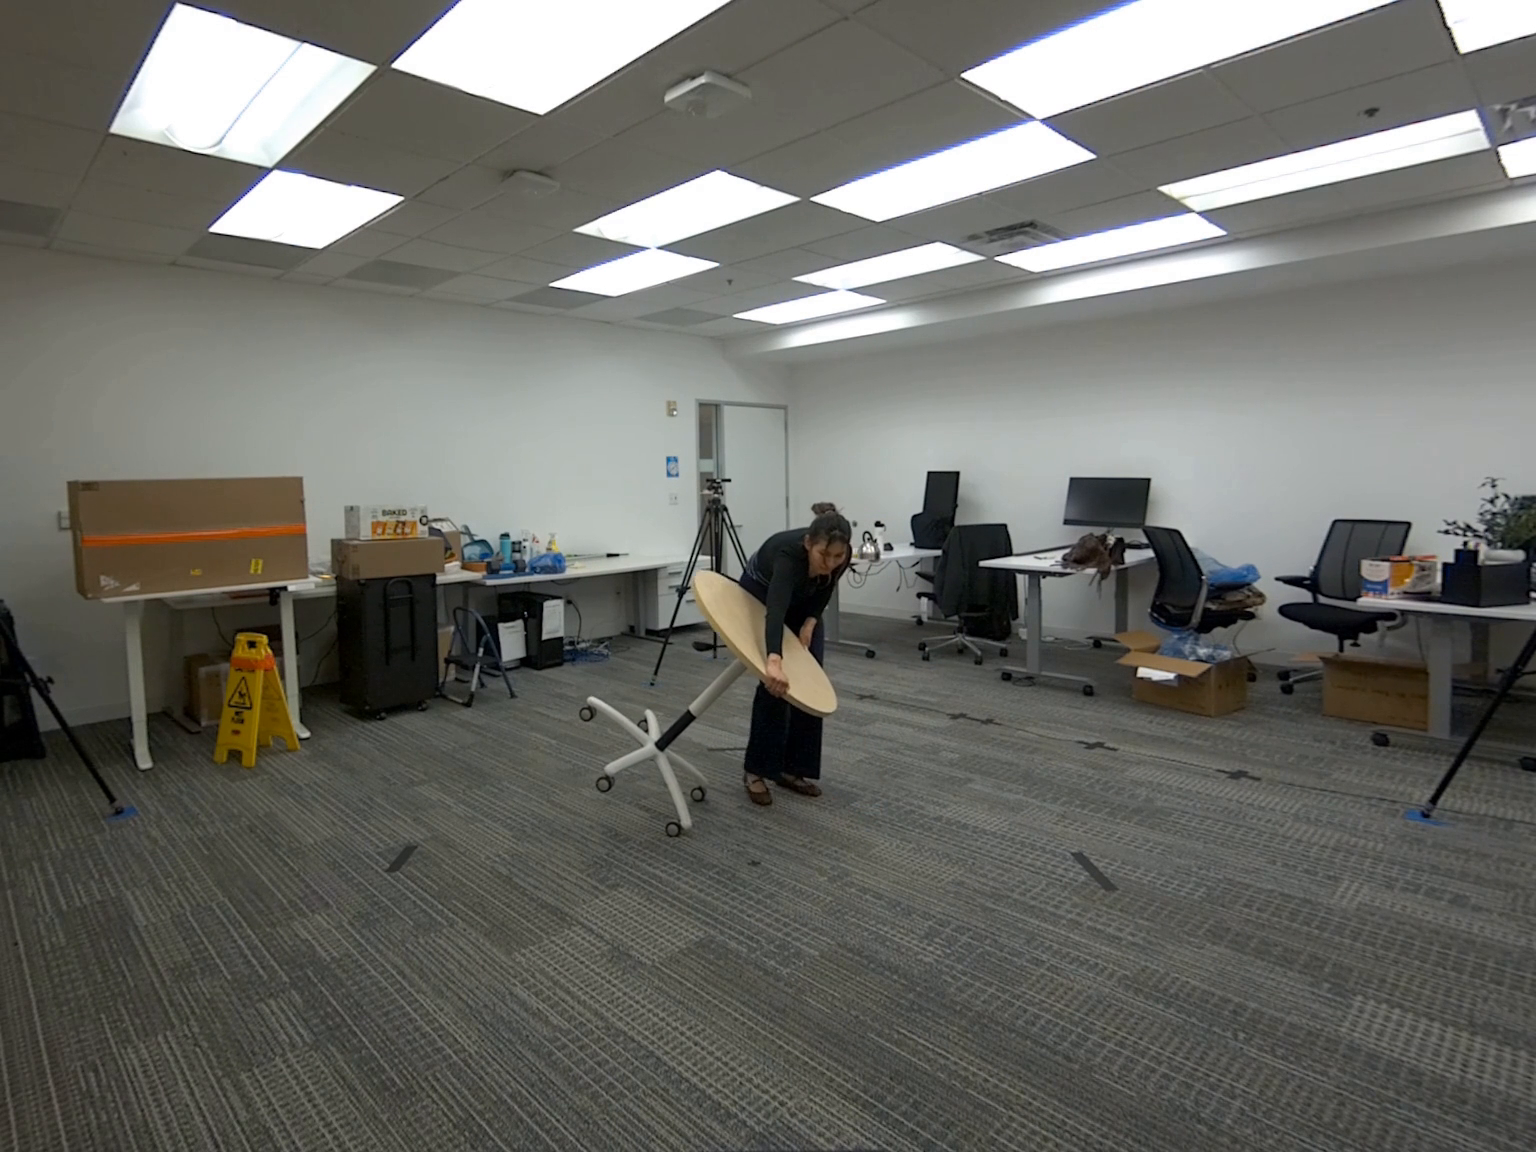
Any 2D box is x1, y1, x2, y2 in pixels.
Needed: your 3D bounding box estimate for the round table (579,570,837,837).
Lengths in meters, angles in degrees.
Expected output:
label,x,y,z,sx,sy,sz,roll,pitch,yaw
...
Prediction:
label,x,y,z,sx,sy,sz,roll,pitch,yaw
round table,-0.281,0.525,3.480,0.752,0.794,0.776,40,12,-13
